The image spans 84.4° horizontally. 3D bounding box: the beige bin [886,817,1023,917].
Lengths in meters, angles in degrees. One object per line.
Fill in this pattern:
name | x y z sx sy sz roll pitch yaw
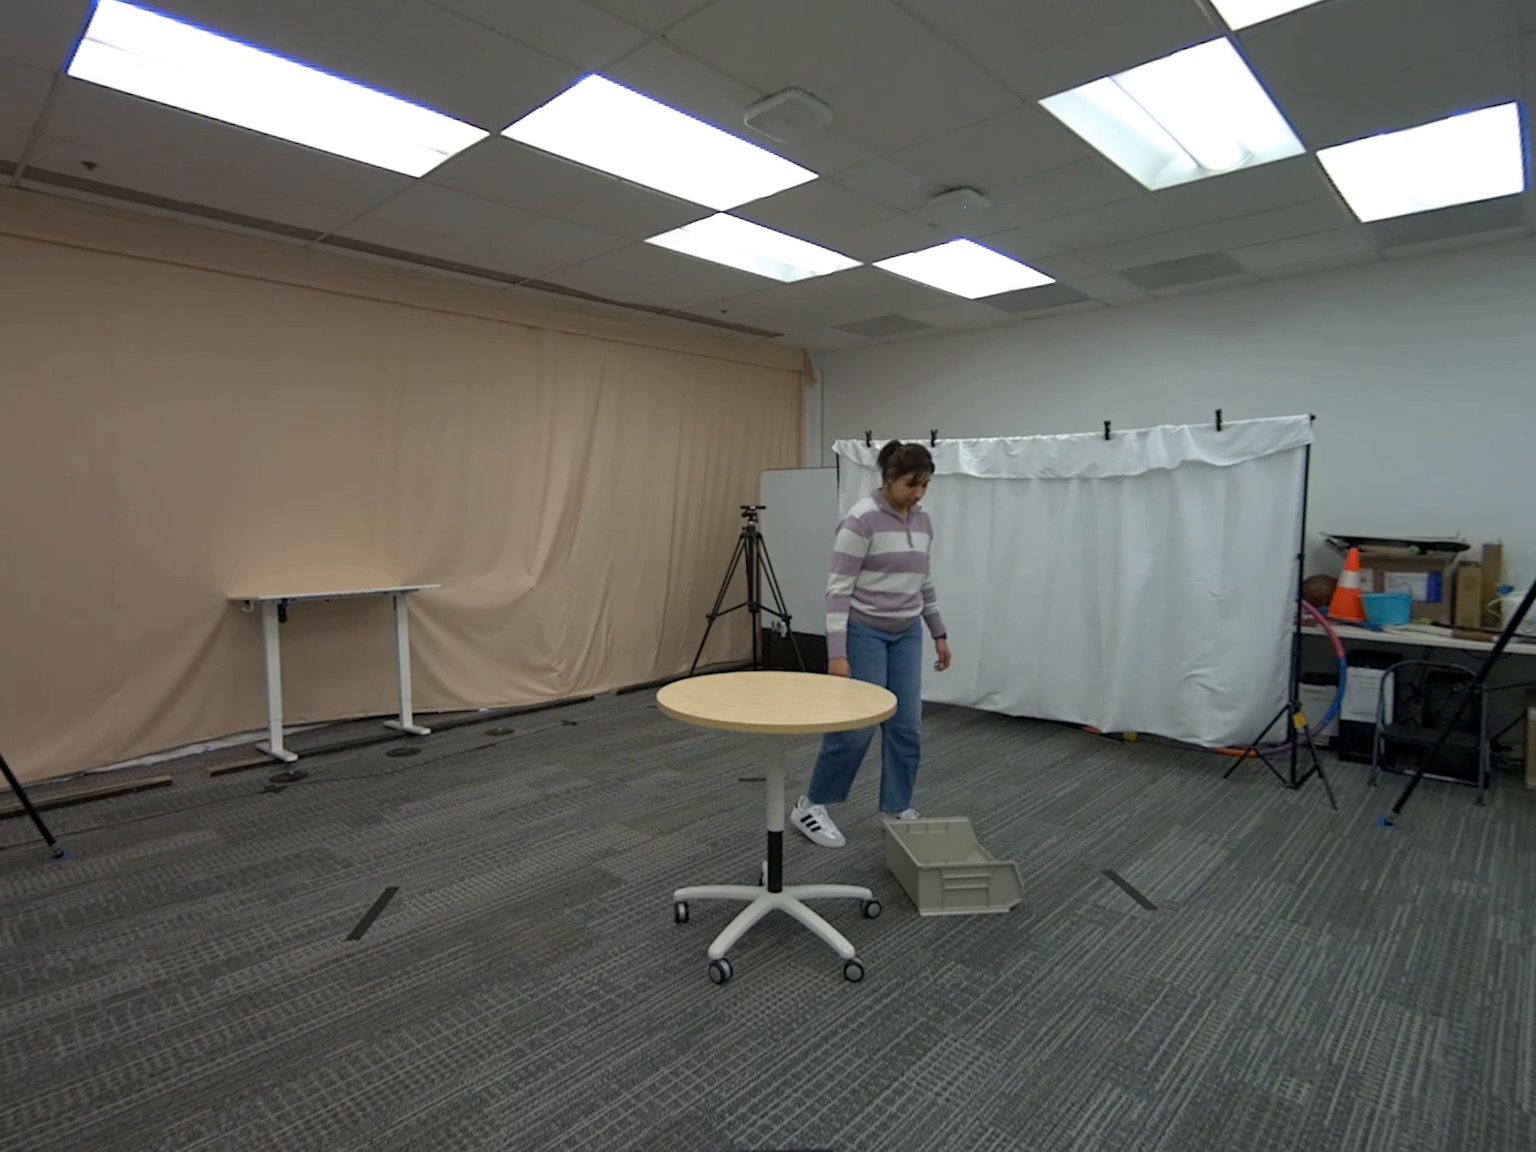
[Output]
beige bin | 0.665 1.046 3.066 0.375 0.188 0.426 -1 5 -7
